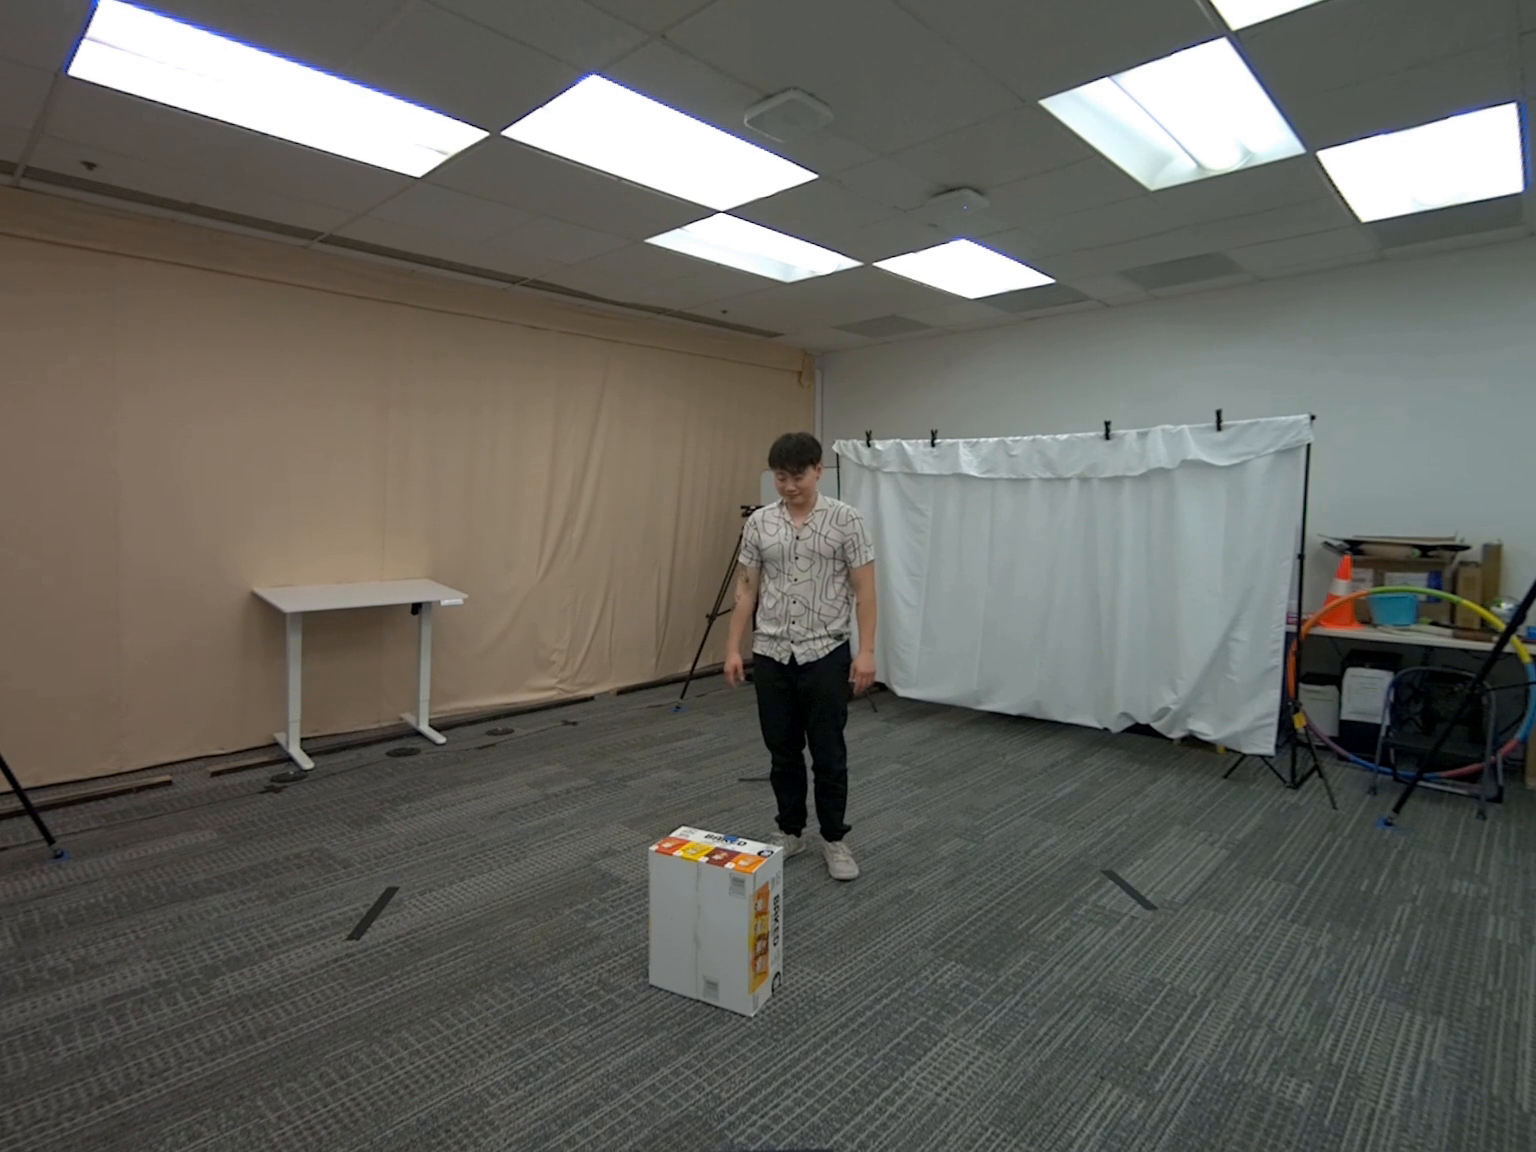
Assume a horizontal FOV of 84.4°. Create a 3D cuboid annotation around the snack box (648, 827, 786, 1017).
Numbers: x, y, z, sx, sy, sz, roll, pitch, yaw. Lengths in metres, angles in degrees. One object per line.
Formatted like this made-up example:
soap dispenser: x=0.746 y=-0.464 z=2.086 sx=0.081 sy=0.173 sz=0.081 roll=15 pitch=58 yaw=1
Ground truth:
snack box: x=-0.151 y=0.986 z=2.438 sx=0.350 sy=0.404 sz=0.200 roll=2 pitch=3 yaw=28
